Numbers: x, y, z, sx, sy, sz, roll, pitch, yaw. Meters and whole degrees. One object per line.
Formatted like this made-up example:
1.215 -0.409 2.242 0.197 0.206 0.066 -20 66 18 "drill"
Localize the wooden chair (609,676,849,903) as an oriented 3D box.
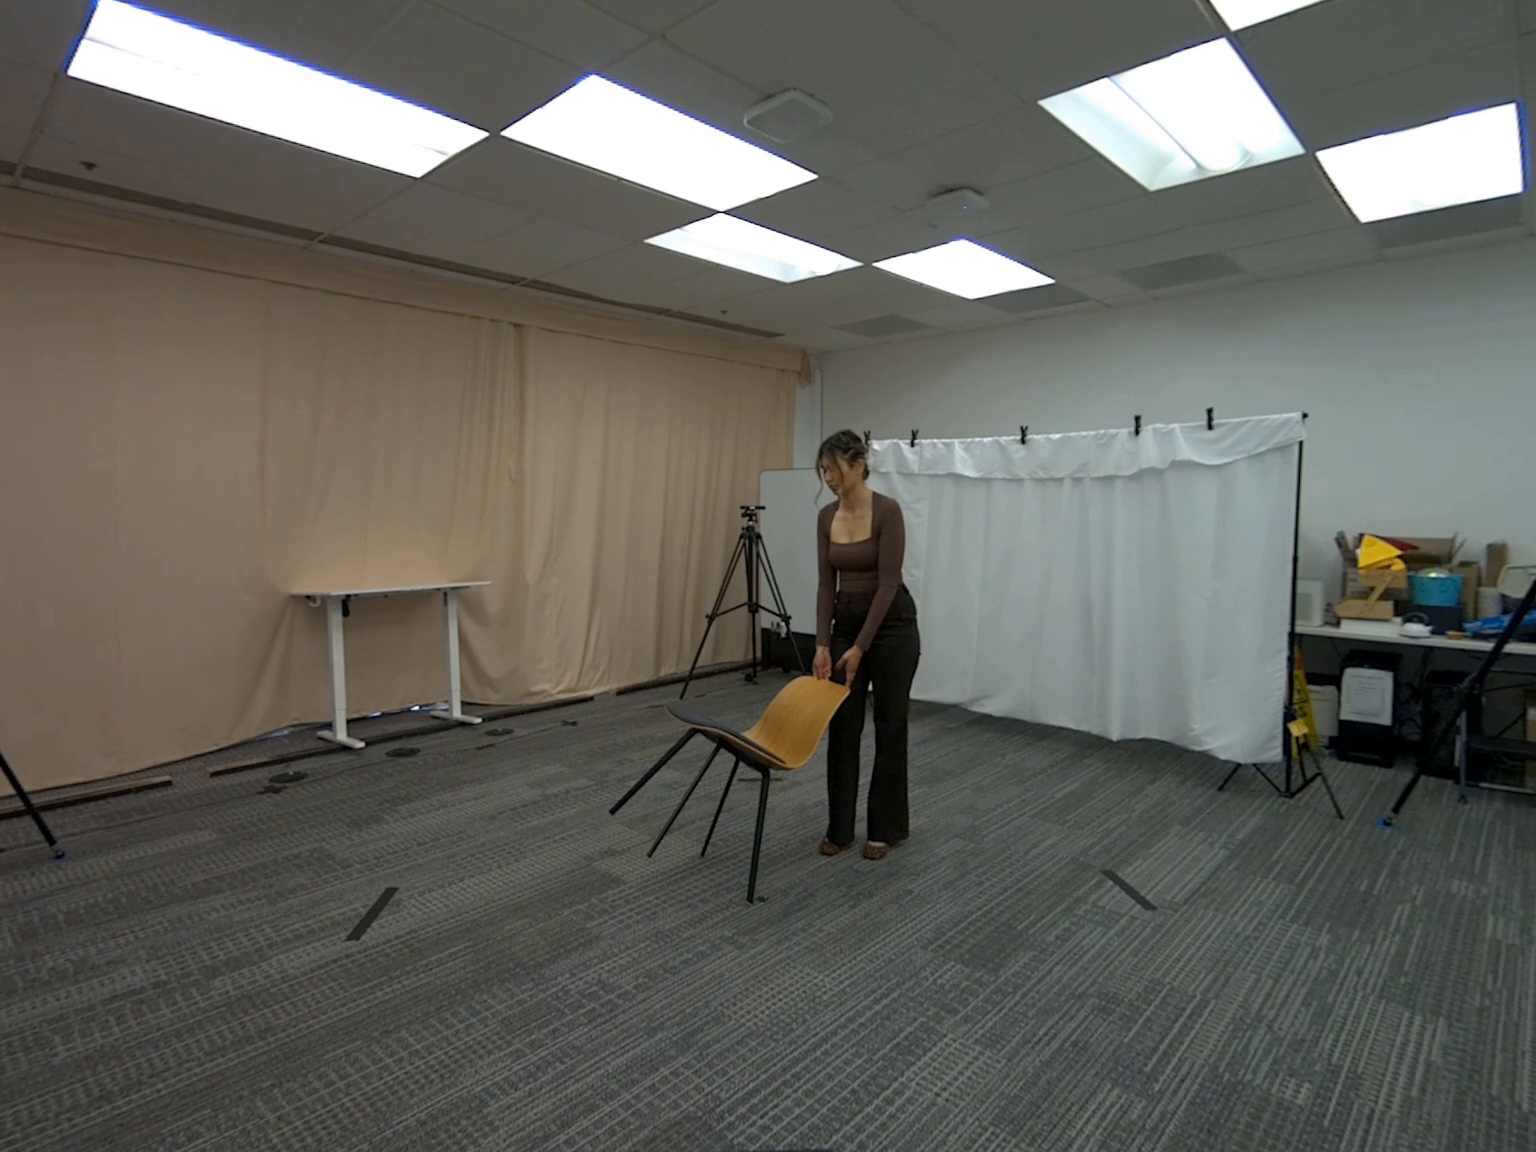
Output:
-0.131 0.646 3.125 0.510 0.877 0.491 37 -12 -23 "wooden chair"
